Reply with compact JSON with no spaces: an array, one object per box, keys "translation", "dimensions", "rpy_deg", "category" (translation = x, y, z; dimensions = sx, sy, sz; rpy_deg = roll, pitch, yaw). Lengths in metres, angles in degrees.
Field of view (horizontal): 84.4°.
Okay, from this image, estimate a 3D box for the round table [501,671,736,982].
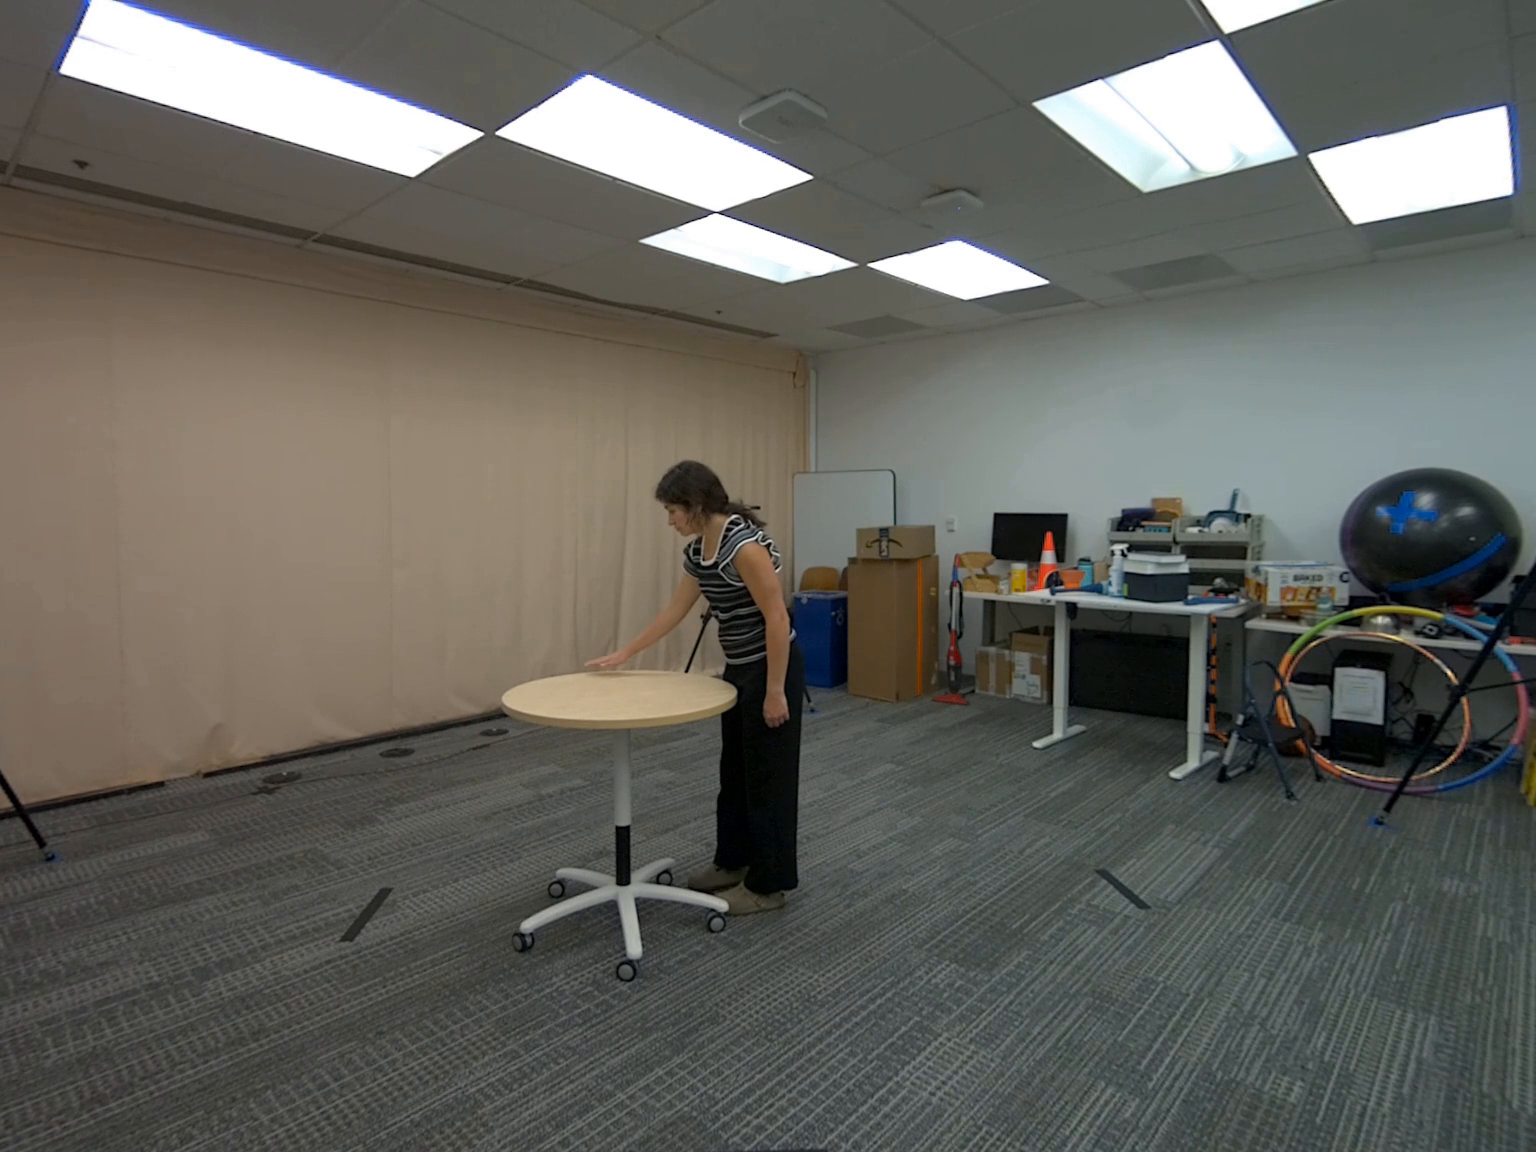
[{"translation":[-0.484,0.777,2.785],"dimensions":[0.763,0.793,0.766],"rpy_deg":[0,3,-2],"category":"round table"}]
